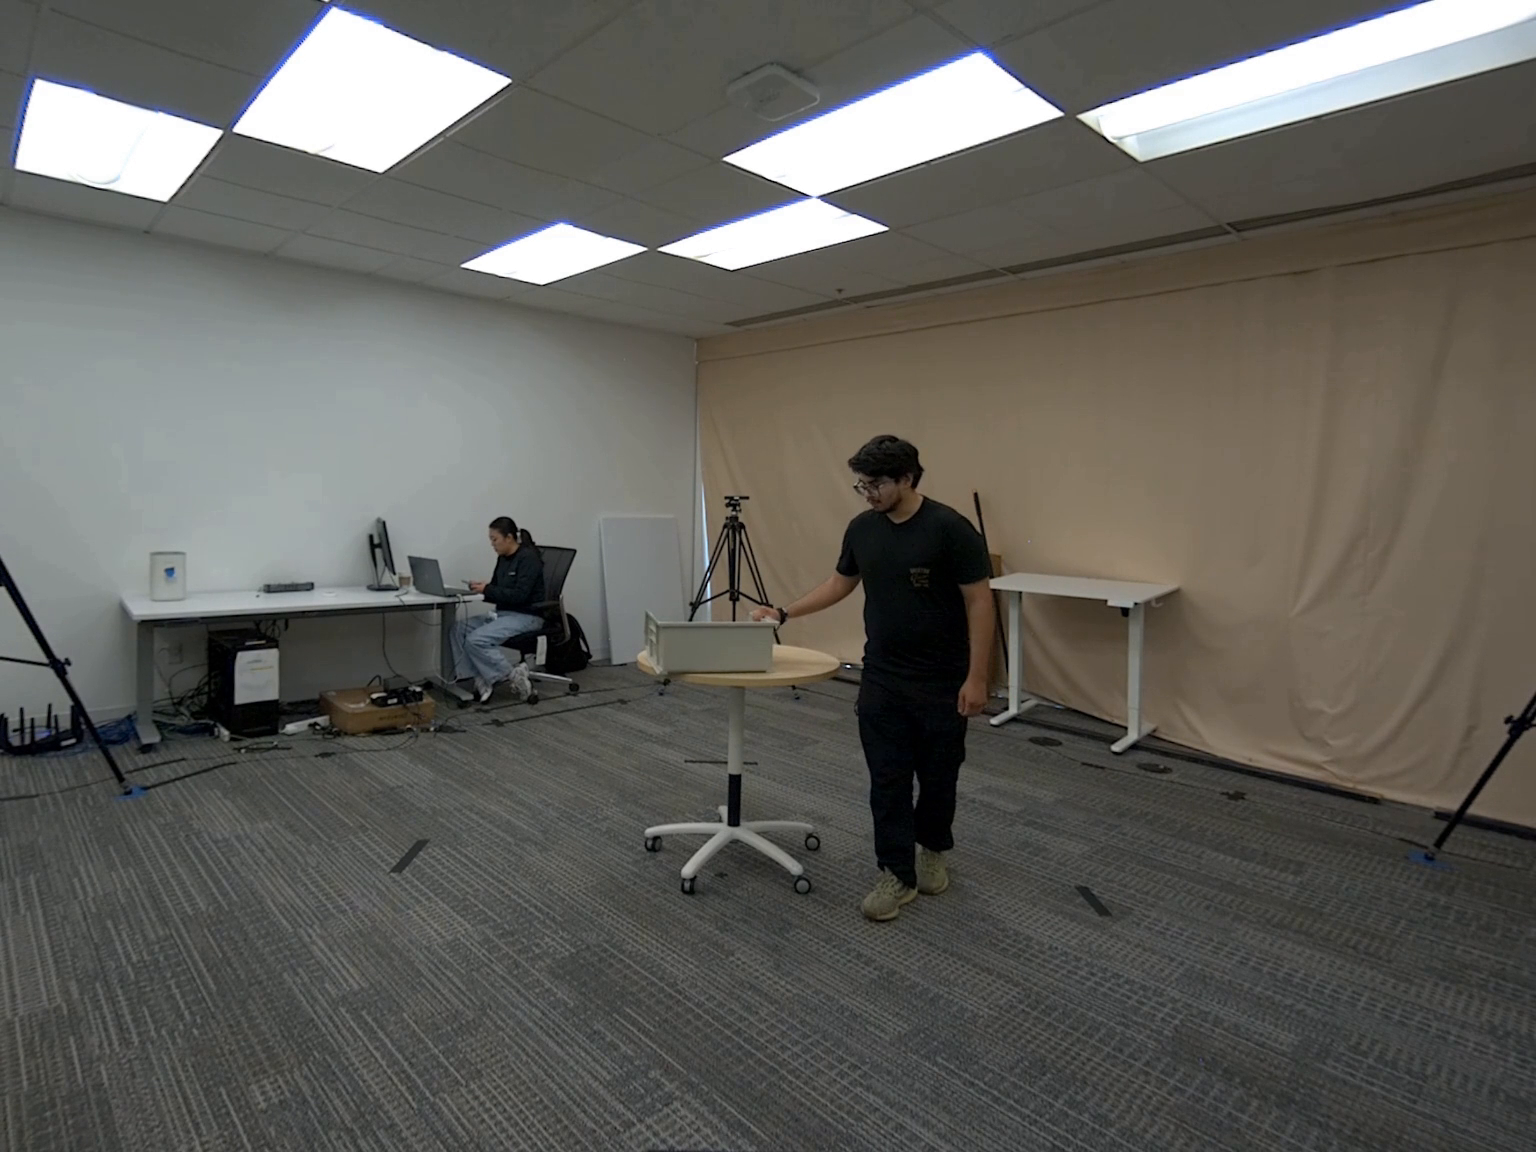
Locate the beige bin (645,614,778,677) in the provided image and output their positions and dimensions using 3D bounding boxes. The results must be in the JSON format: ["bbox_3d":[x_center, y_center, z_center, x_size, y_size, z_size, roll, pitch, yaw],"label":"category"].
[{"bbox_3d":[-0.218,0.231,3.045,0.417,0.188,0.383,1,6,-15],"label":"beige bin"}]
